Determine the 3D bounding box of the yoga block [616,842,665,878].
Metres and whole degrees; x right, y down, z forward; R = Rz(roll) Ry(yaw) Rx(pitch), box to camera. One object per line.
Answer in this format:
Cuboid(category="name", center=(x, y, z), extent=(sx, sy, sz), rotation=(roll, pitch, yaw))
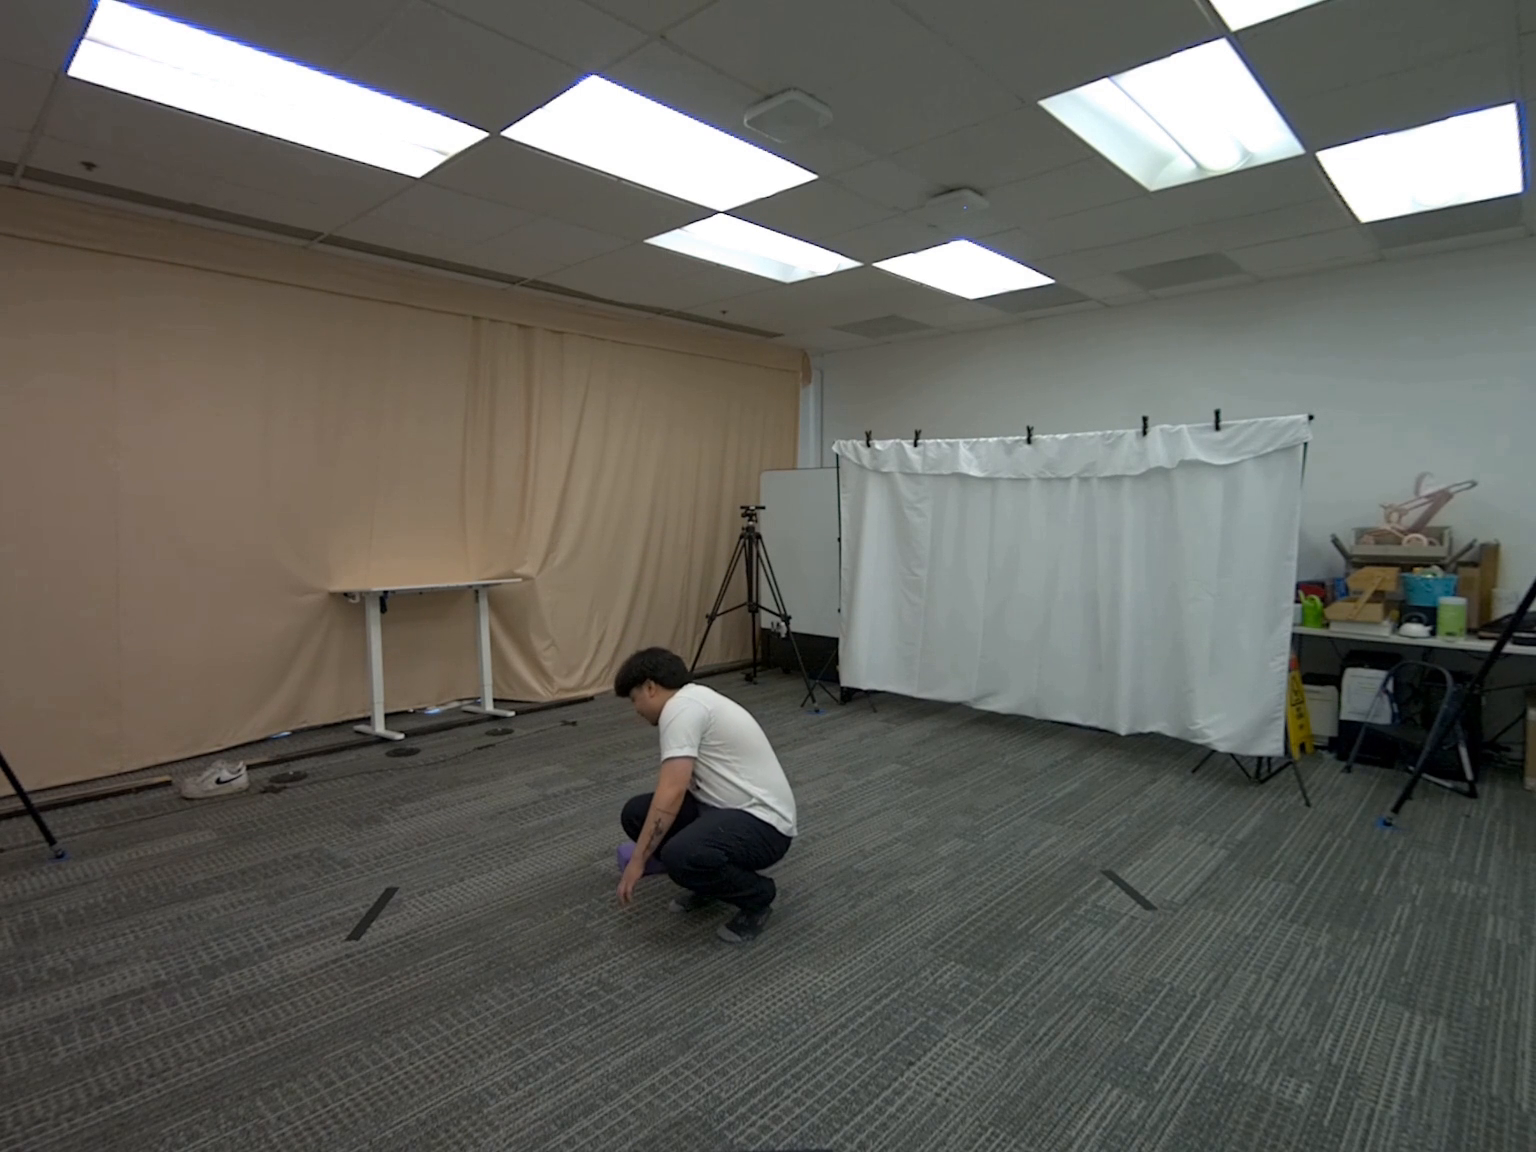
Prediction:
Cuboid(category="yoga block", center=(-0.457, 1.087, 3.255), extent=(0.225, 0.076, 0.152), rotation=(-3, 6, -20))
